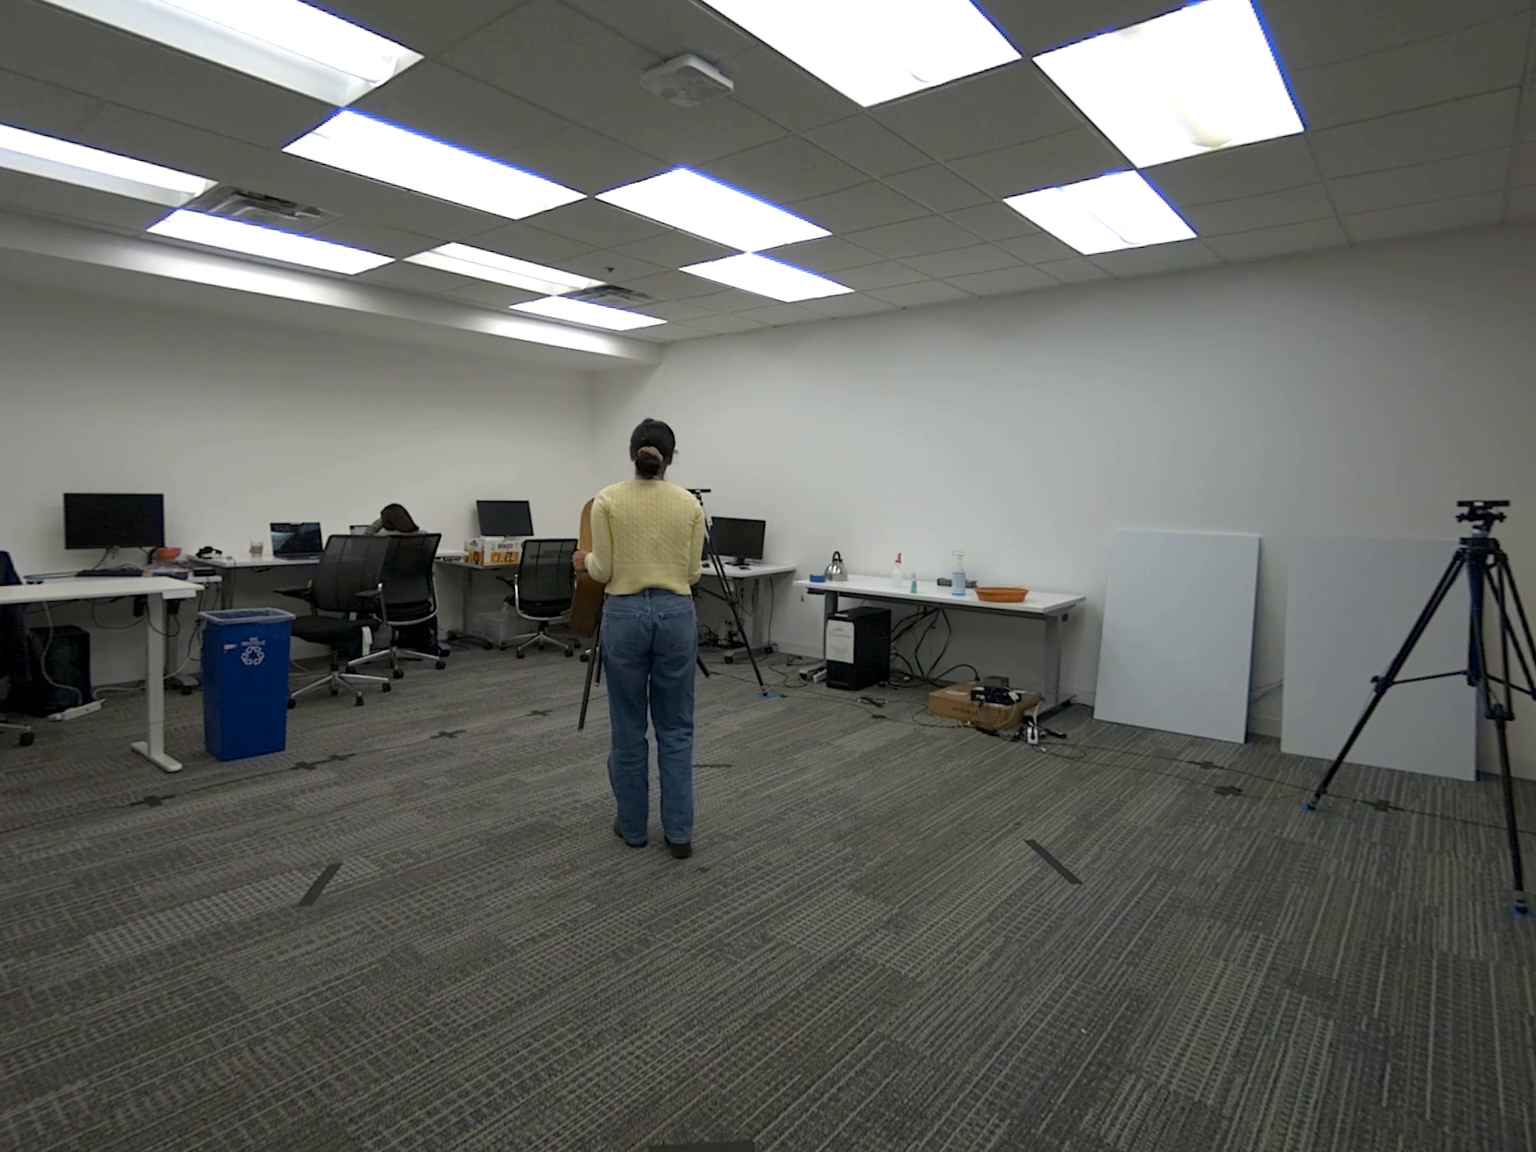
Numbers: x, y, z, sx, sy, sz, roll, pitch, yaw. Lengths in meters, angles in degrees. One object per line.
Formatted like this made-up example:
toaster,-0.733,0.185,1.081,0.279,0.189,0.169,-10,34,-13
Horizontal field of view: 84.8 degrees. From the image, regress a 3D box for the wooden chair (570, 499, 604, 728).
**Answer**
wooden chair,-0.599,0.145,3.578,0.469,0.902,0.519,-1,-28,-20
